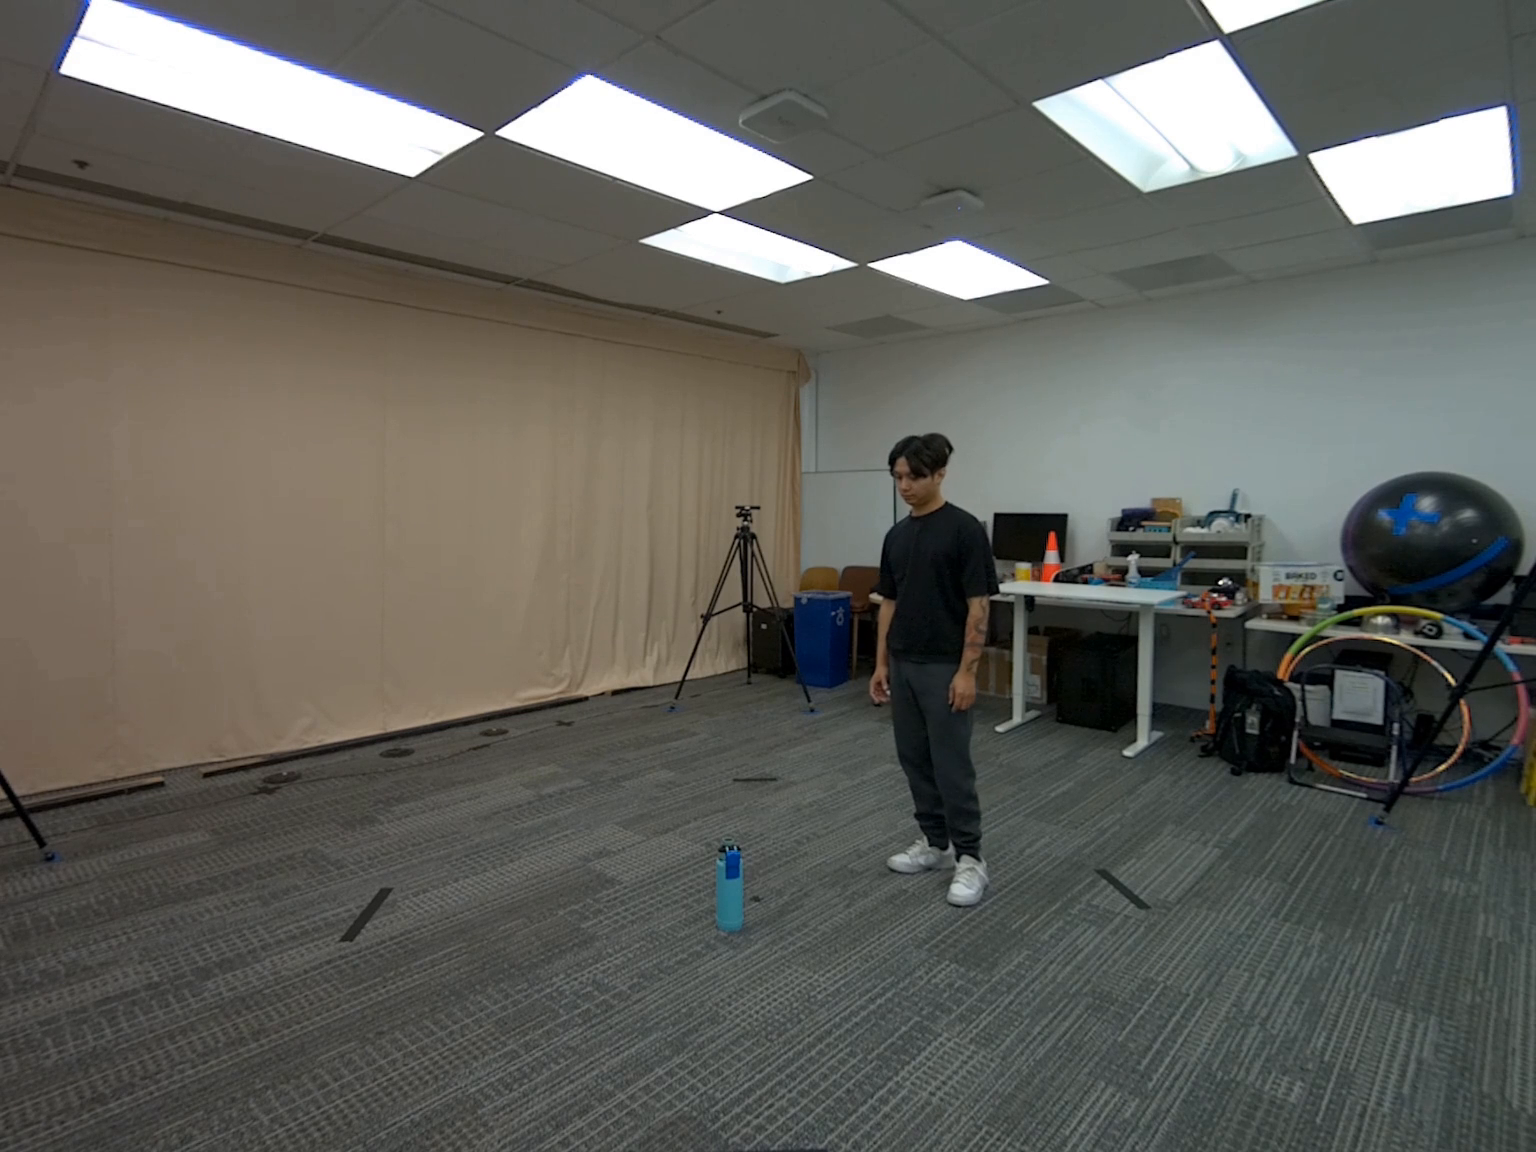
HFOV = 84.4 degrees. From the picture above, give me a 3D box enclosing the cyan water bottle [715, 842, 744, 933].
[{"bbox_3d":[-0.128,1.022,2.783,0.092,0.283,0.092,0,3,-2],"label":"cyan water bottle"}]
